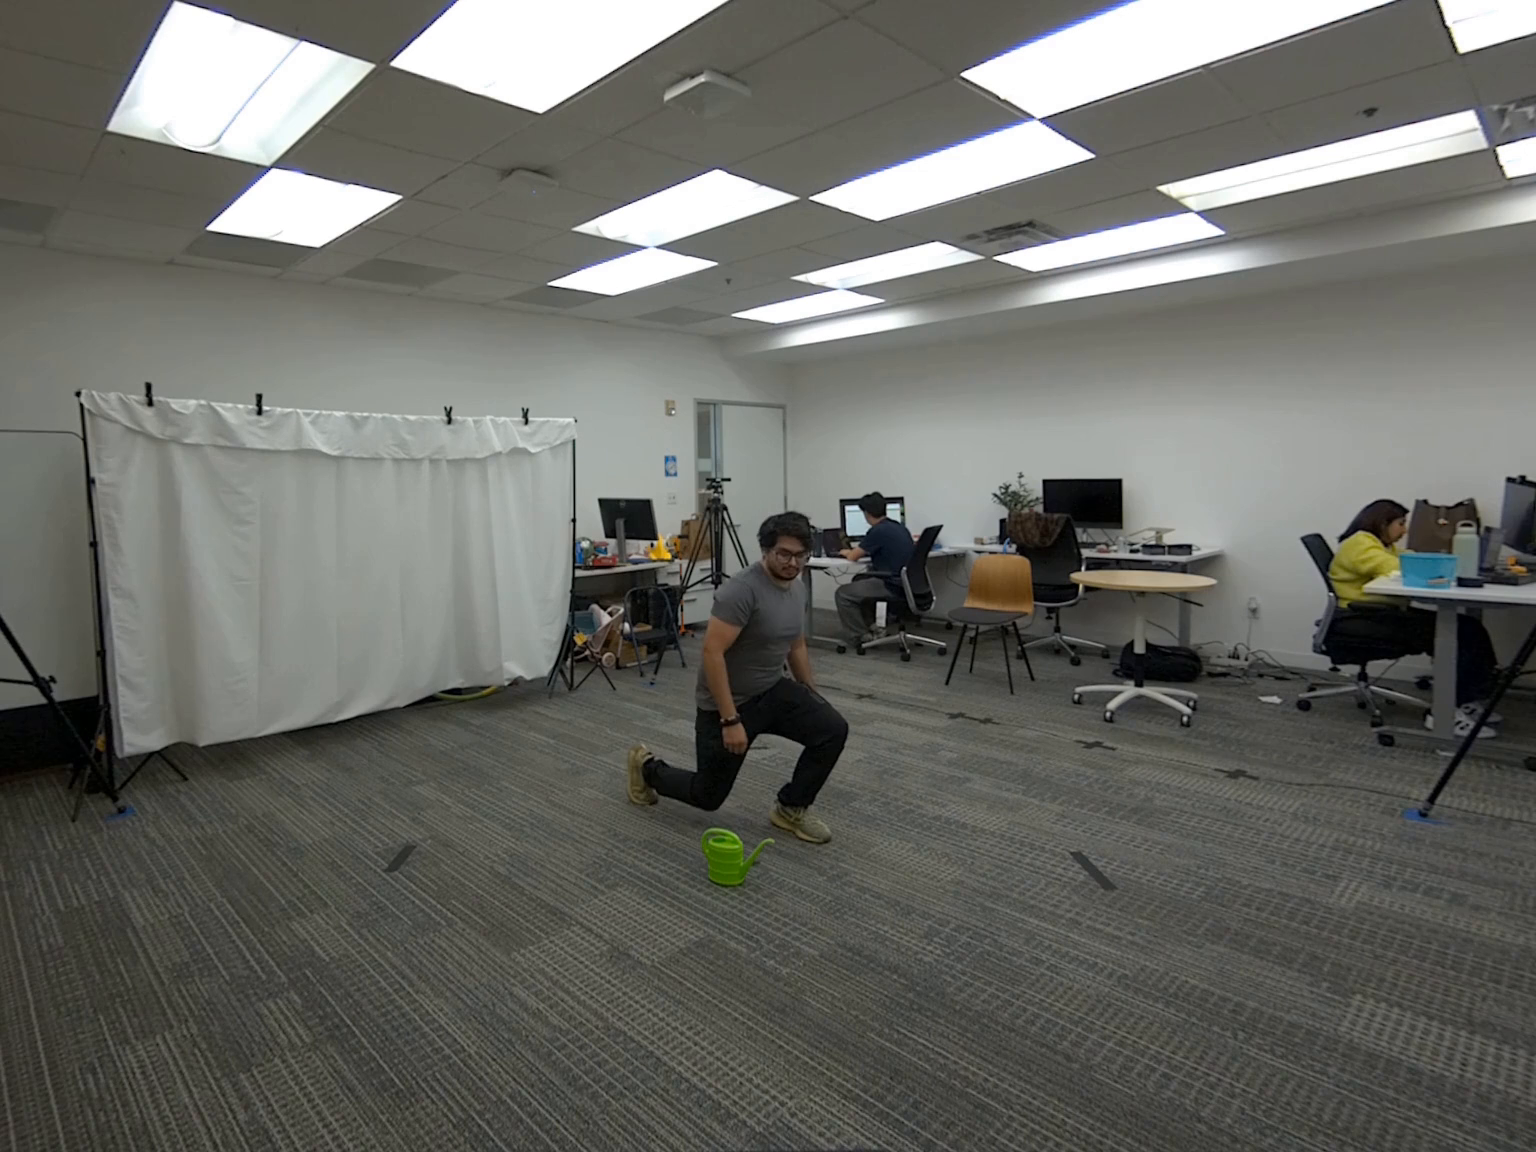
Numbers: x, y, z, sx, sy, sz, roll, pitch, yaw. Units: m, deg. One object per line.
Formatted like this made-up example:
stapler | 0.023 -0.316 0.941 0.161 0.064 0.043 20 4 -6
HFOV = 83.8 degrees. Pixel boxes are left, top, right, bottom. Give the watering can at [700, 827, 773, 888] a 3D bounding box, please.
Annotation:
watering can | -0.109 0.977 2.944 0.287 0.176 0.095 5 7 40
